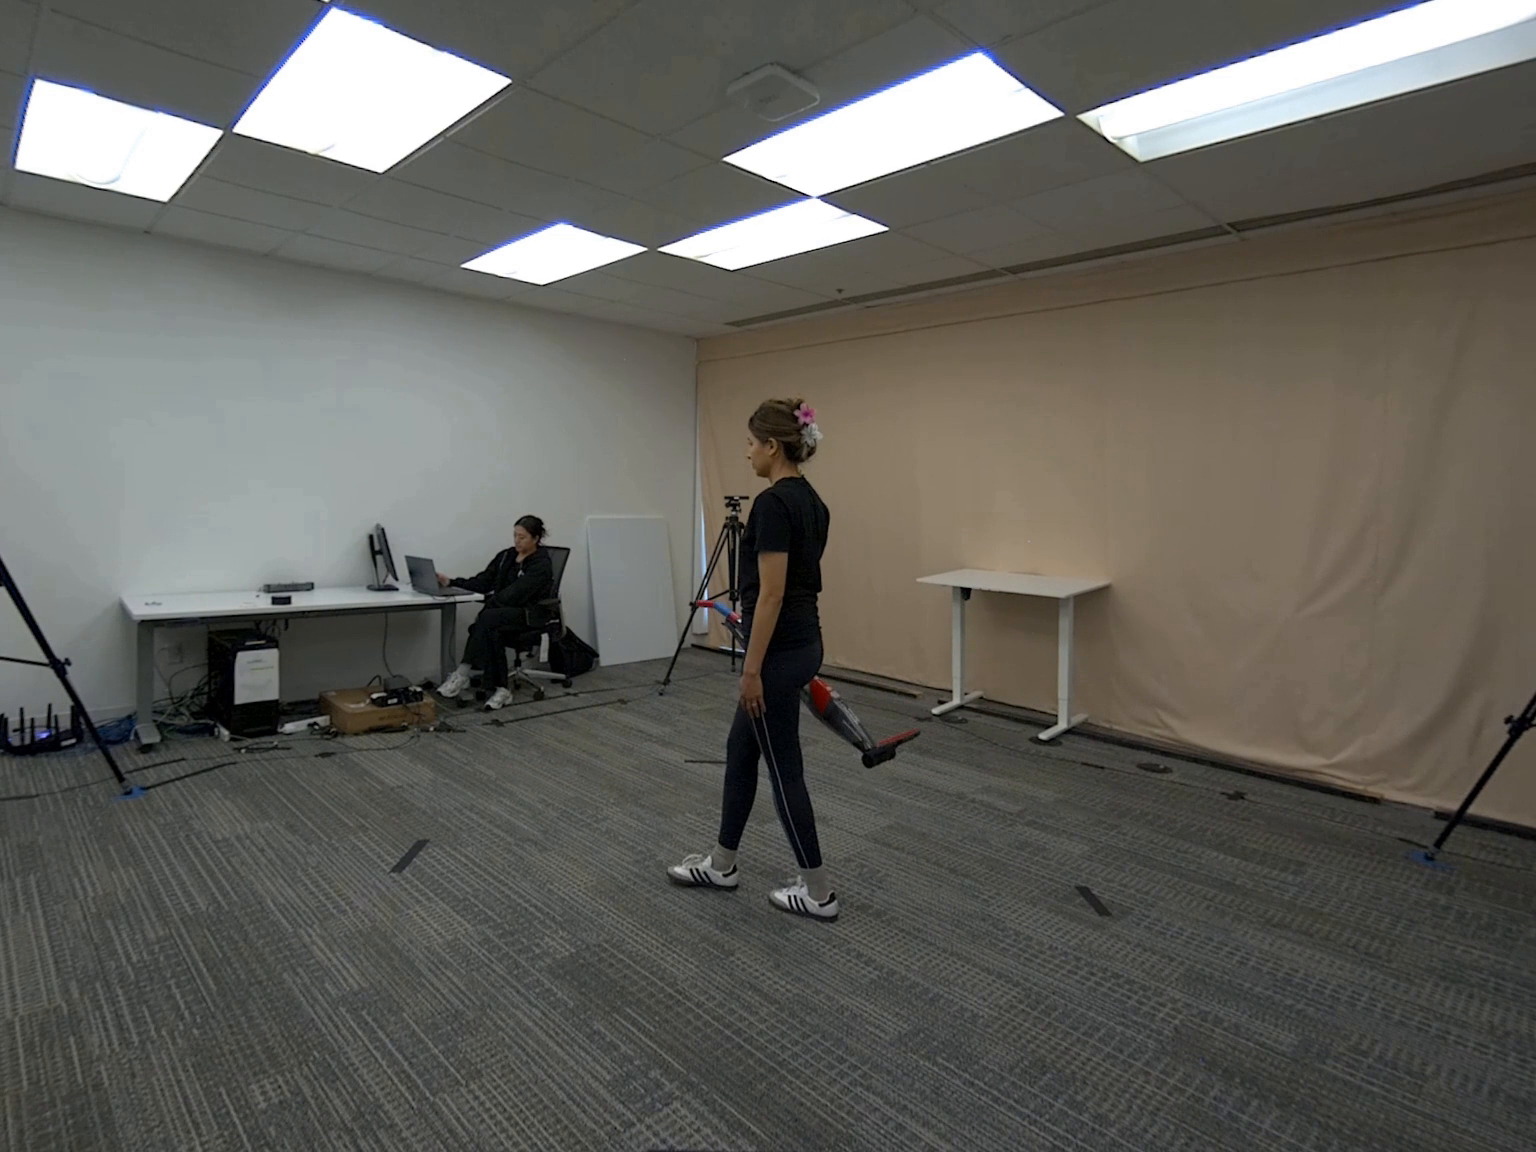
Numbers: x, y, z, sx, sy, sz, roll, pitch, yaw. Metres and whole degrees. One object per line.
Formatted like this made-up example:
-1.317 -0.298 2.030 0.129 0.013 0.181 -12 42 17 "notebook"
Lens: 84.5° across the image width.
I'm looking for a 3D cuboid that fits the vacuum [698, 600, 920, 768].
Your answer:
0.059 0.353 3.200 0.248 0.142 1.082 -13 37 -41 "vacuum"
